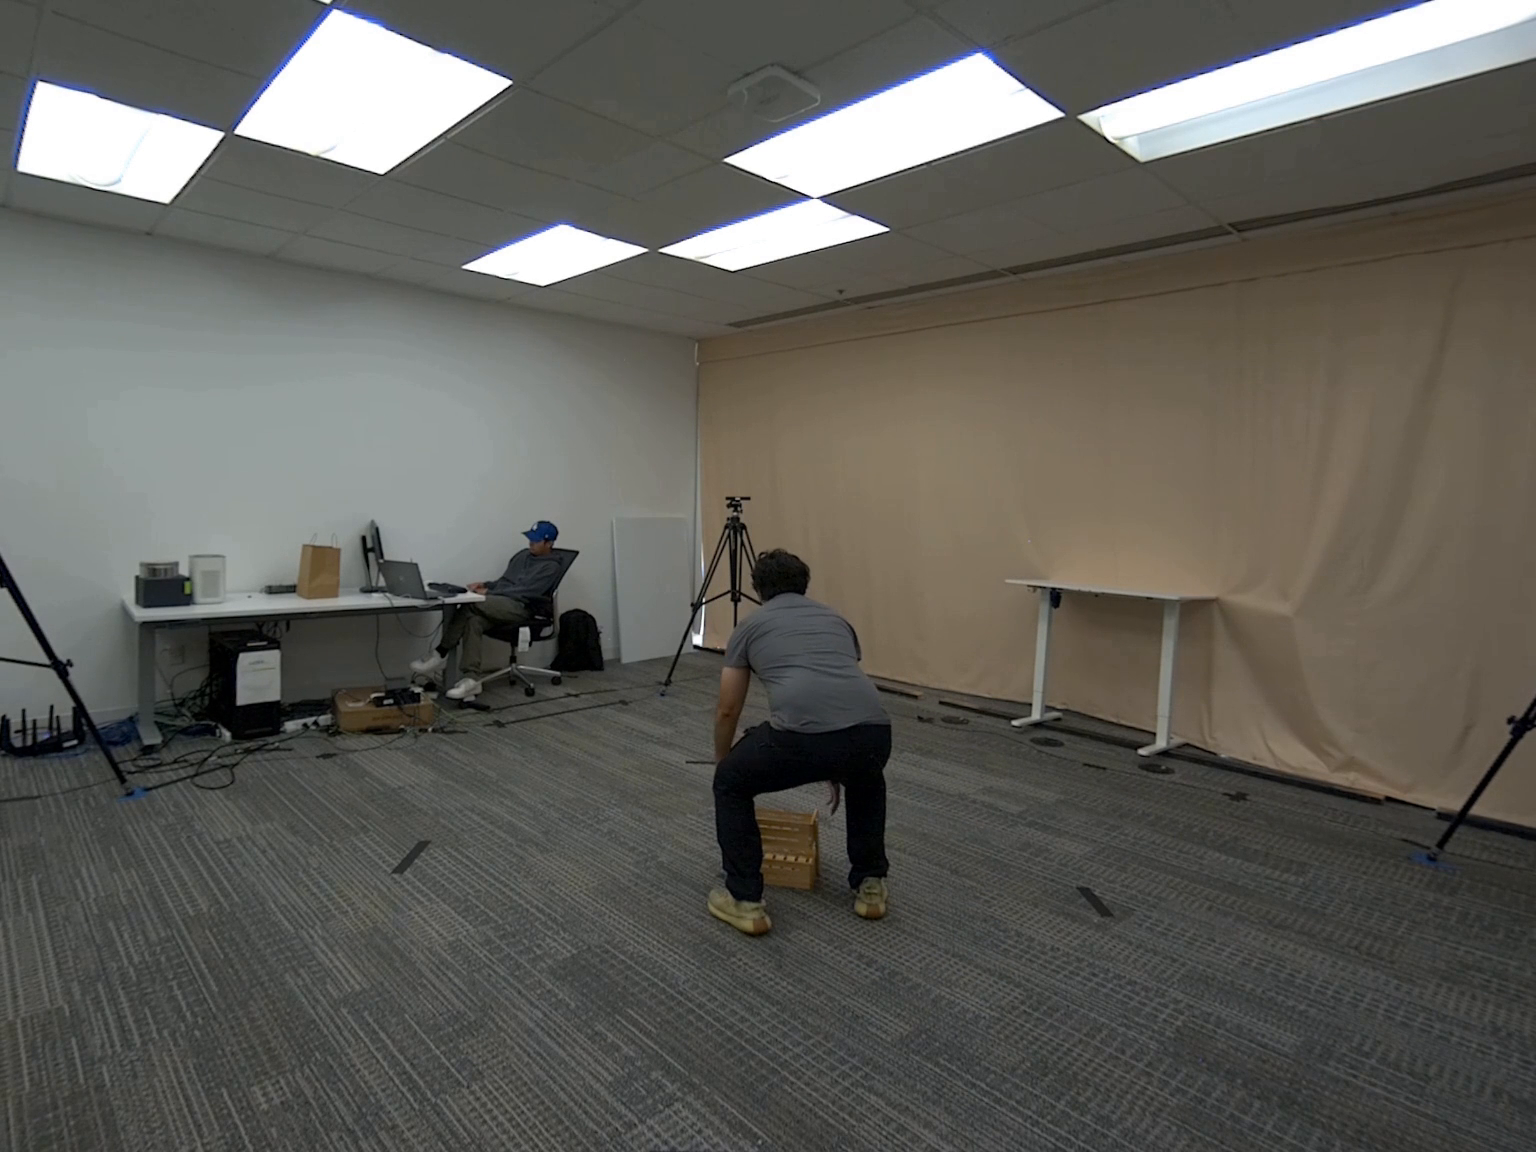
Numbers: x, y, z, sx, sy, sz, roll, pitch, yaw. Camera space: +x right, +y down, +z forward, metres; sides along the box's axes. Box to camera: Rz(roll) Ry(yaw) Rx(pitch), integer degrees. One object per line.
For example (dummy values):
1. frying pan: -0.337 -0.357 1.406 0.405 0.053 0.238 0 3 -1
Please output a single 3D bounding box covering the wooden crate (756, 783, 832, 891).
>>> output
1. wooden crate: 0.025 0.978 3.131 0.327 0.272 0.300 2 6 10
